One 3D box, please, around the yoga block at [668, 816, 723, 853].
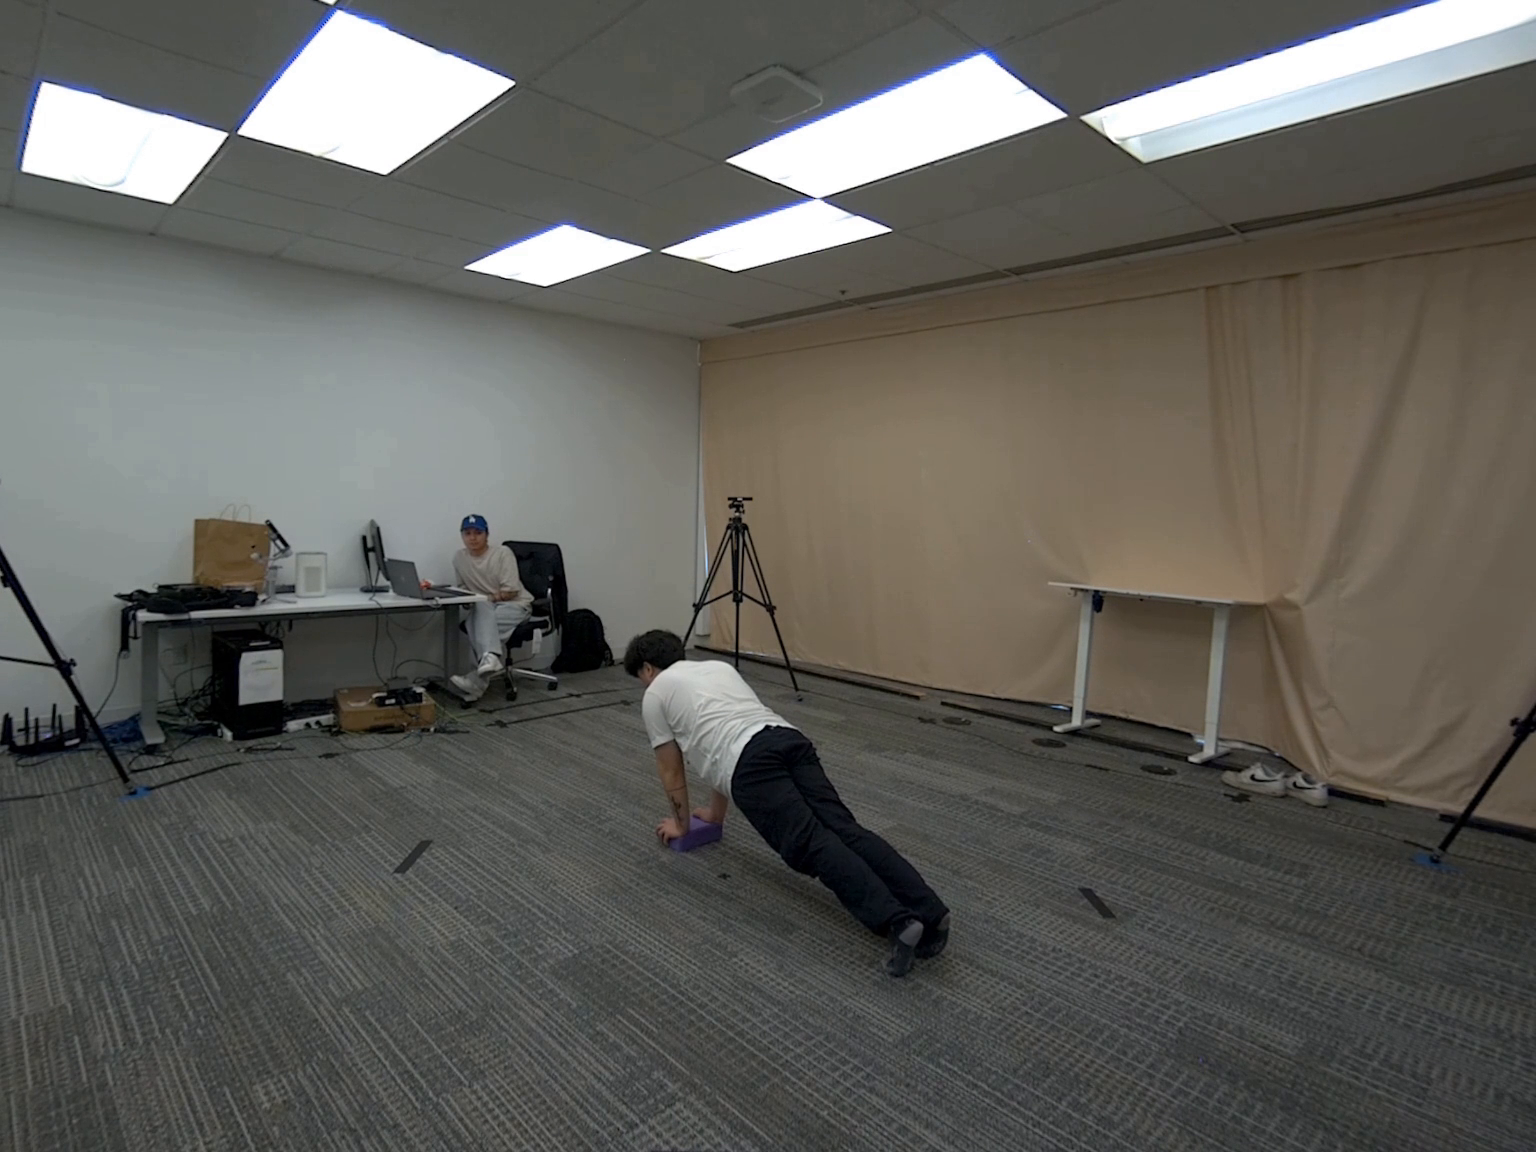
[{"bbox_3d":[-0.321,1.040,3.425,0.153,0.076,0.224,4,6,45],"label":"yoga block"}]
